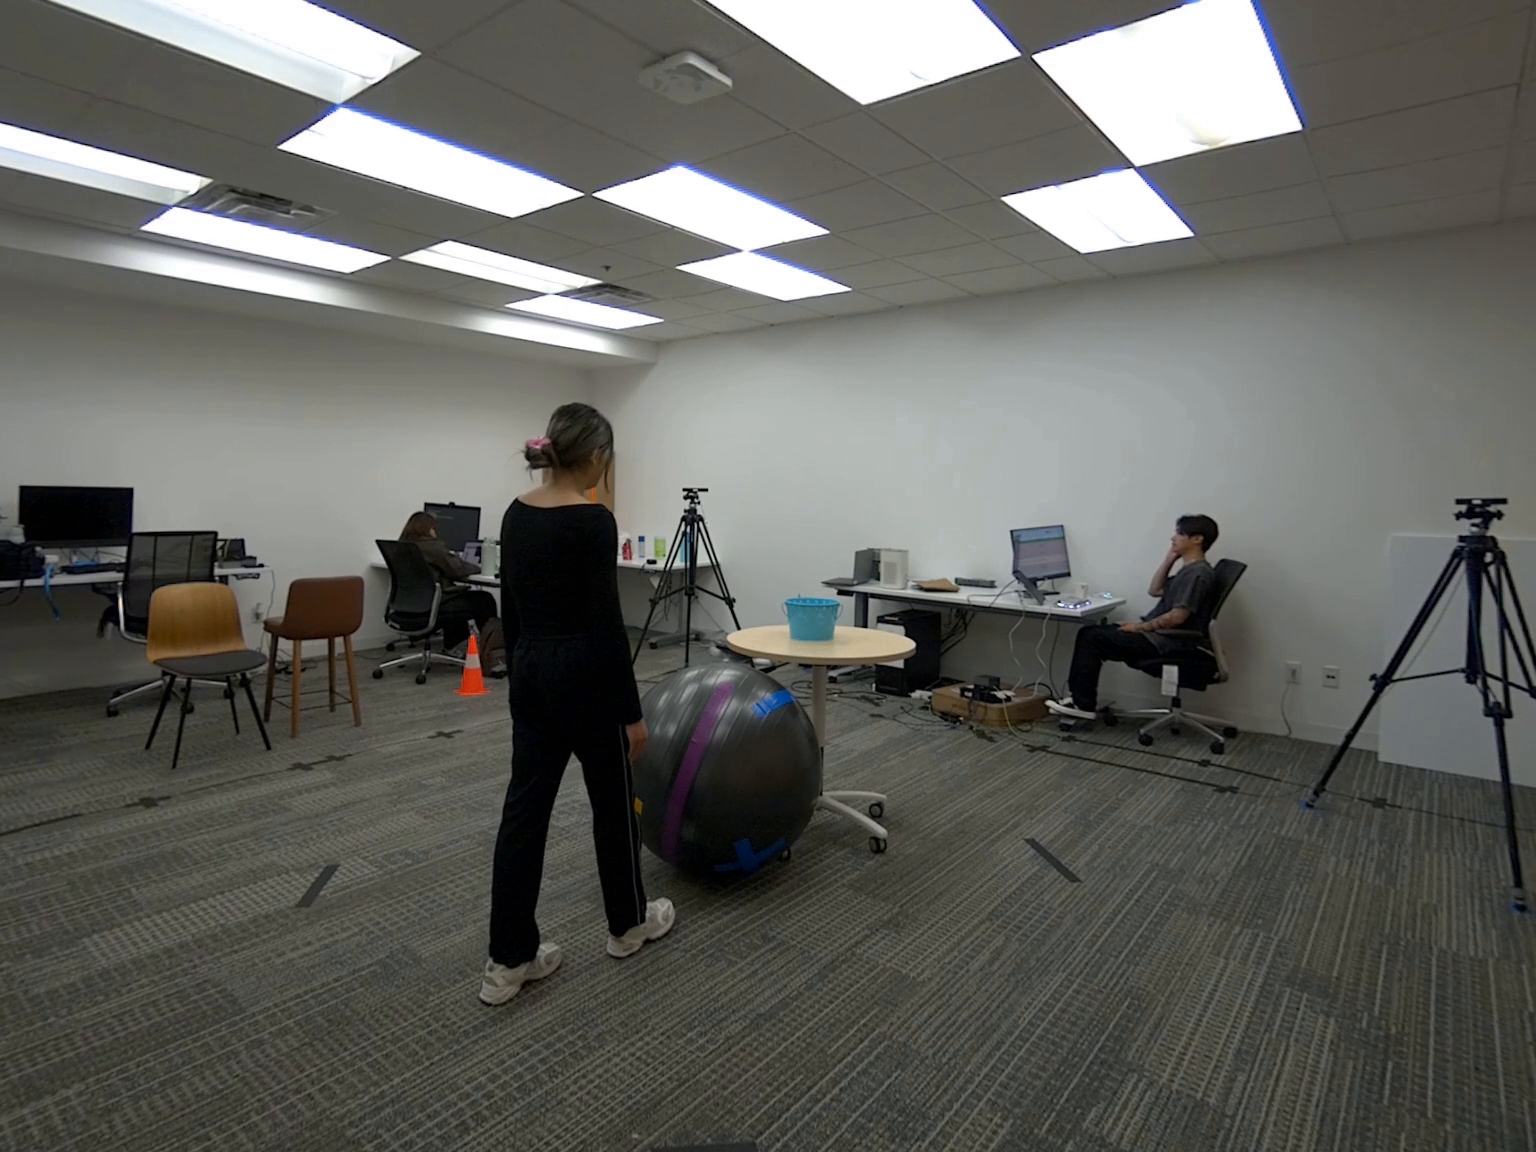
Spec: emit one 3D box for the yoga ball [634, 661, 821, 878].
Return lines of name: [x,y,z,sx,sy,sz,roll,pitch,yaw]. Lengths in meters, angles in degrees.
yoga ball: [-0.186,0.705,3.123,0.757,0.756,0.762,1,4,-2]
